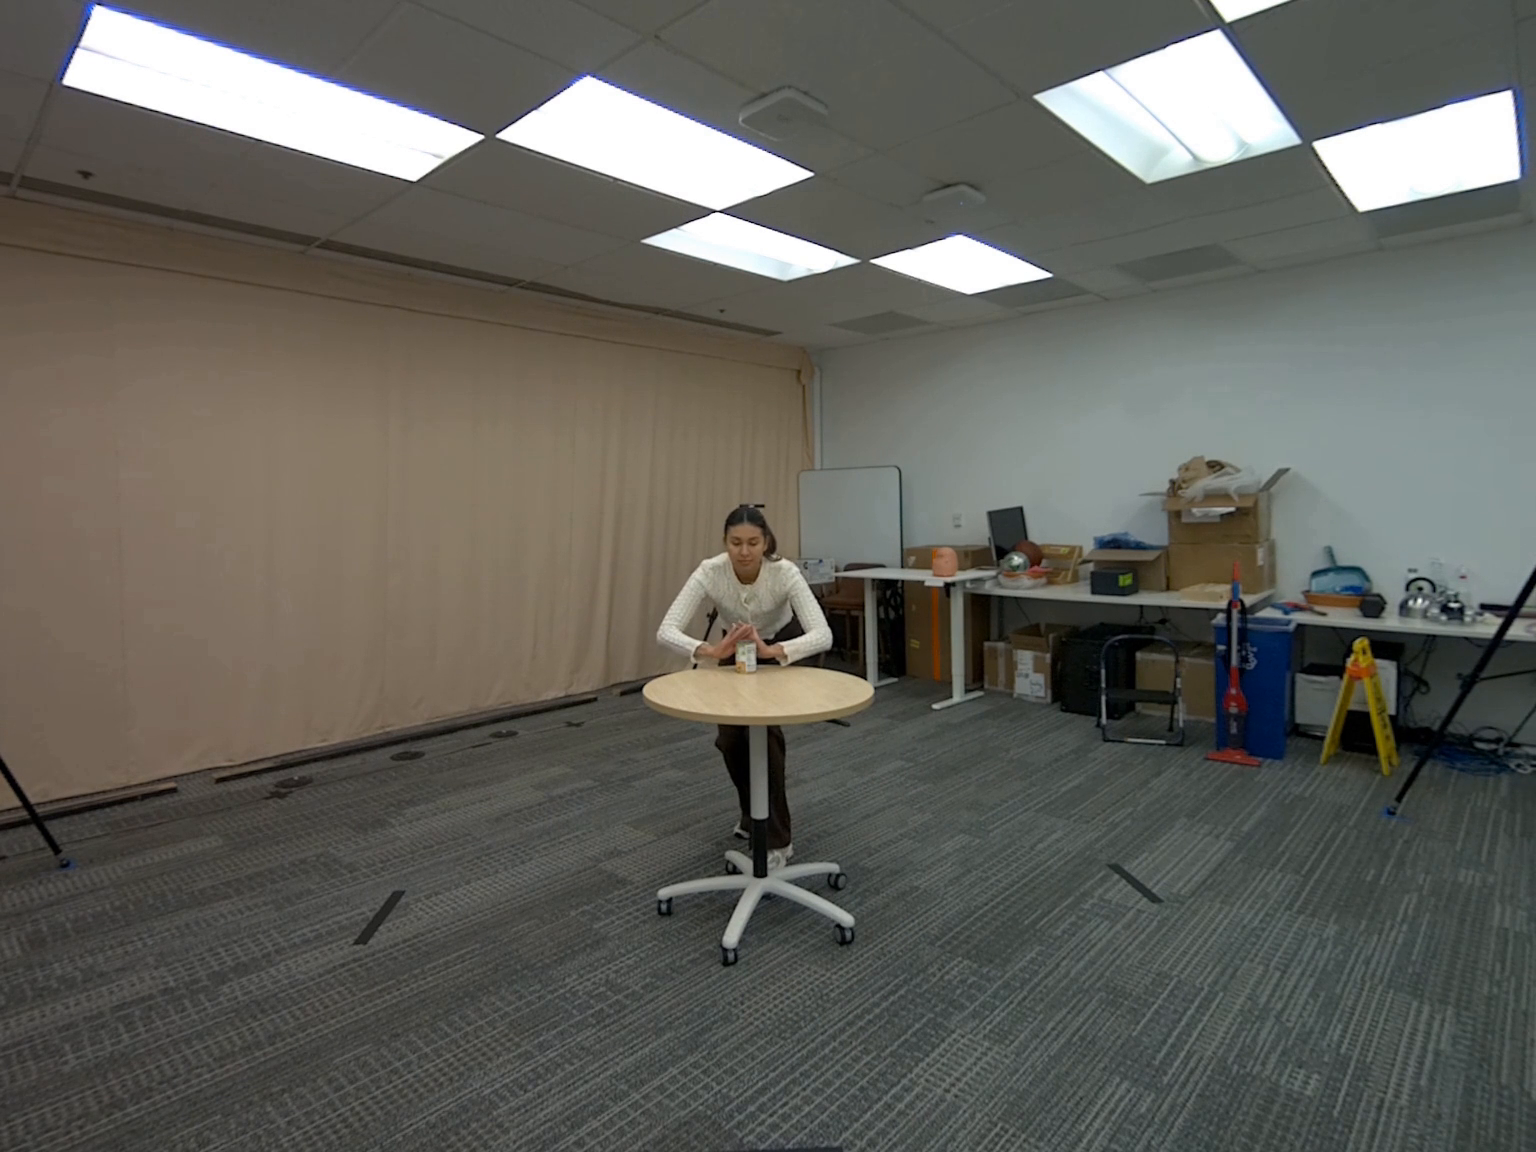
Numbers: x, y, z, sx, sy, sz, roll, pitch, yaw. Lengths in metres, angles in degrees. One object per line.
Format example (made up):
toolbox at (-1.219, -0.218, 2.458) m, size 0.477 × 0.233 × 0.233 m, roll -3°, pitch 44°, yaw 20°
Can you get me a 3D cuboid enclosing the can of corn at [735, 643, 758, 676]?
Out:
can of corn at (-0.082, 0.291, 3.052) m, size 0.074 × 0.111 × 0.074 m, roll -3°, pitch 3°, yaw -2°
